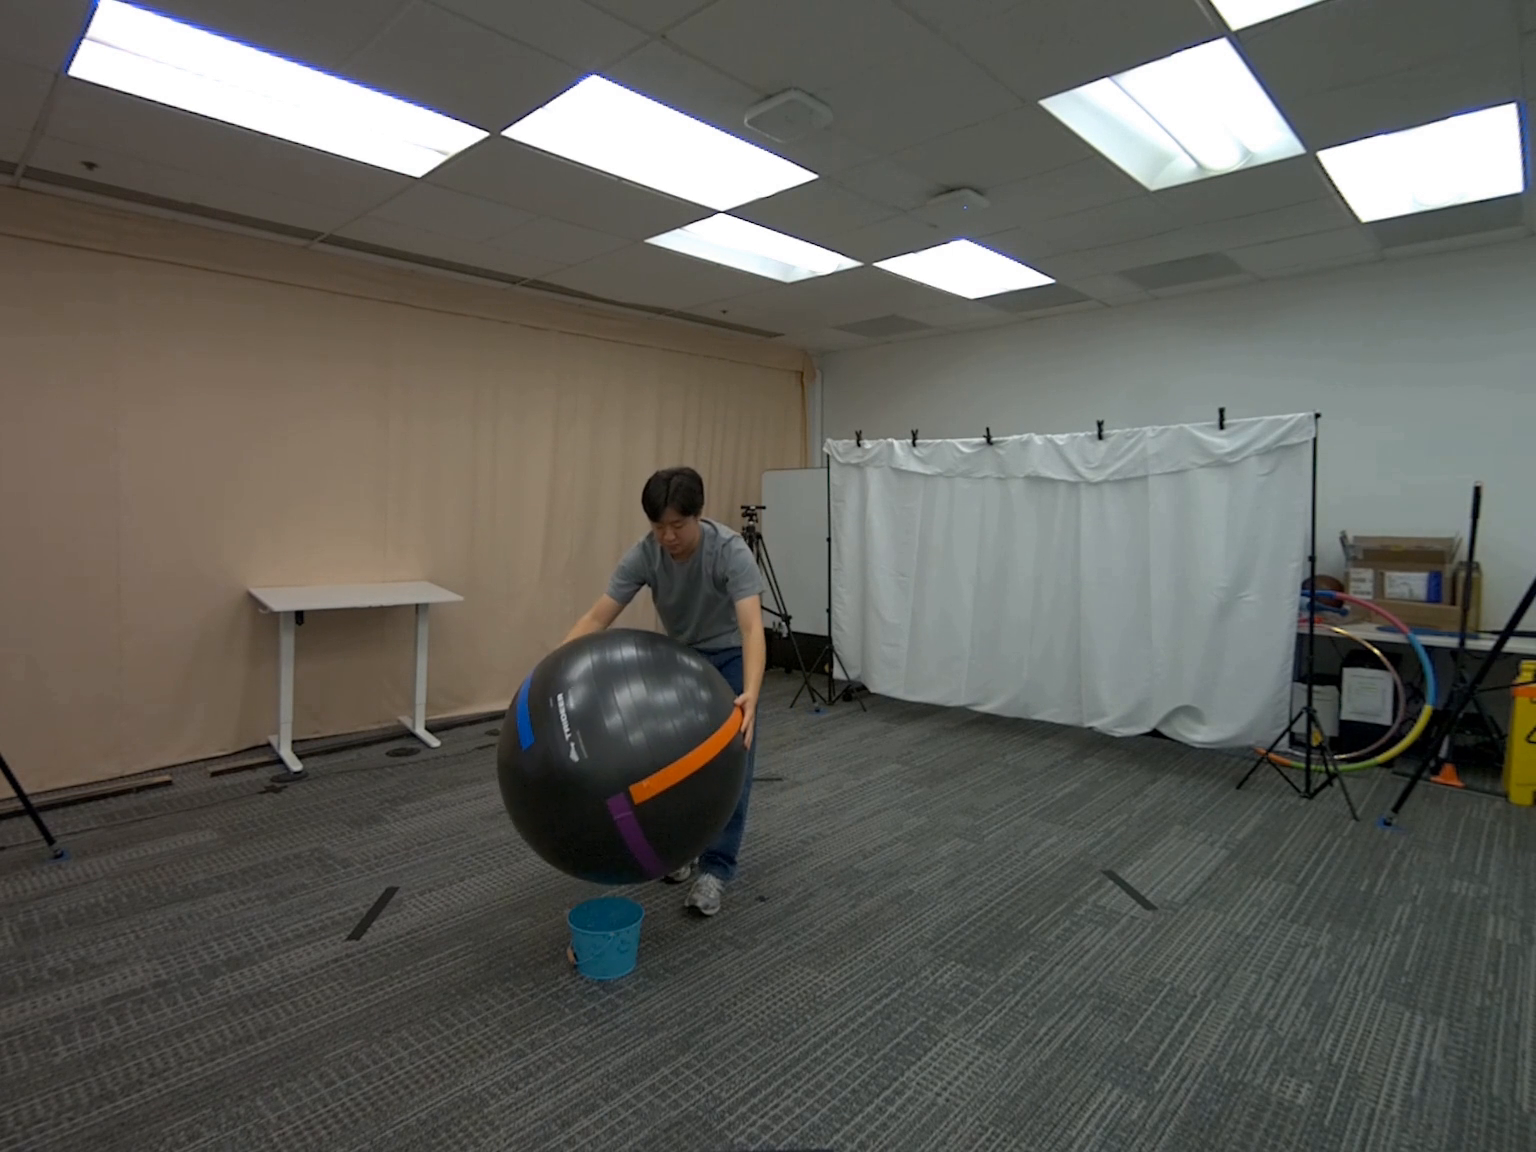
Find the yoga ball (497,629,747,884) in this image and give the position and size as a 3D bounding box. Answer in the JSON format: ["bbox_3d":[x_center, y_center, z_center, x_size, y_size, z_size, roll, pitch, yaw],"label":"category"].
[{"bbox_3d":[-0.440,0.537,2.583,0.757,0.756,0.760,0,4,-2],"label":"yoga ball"}]
